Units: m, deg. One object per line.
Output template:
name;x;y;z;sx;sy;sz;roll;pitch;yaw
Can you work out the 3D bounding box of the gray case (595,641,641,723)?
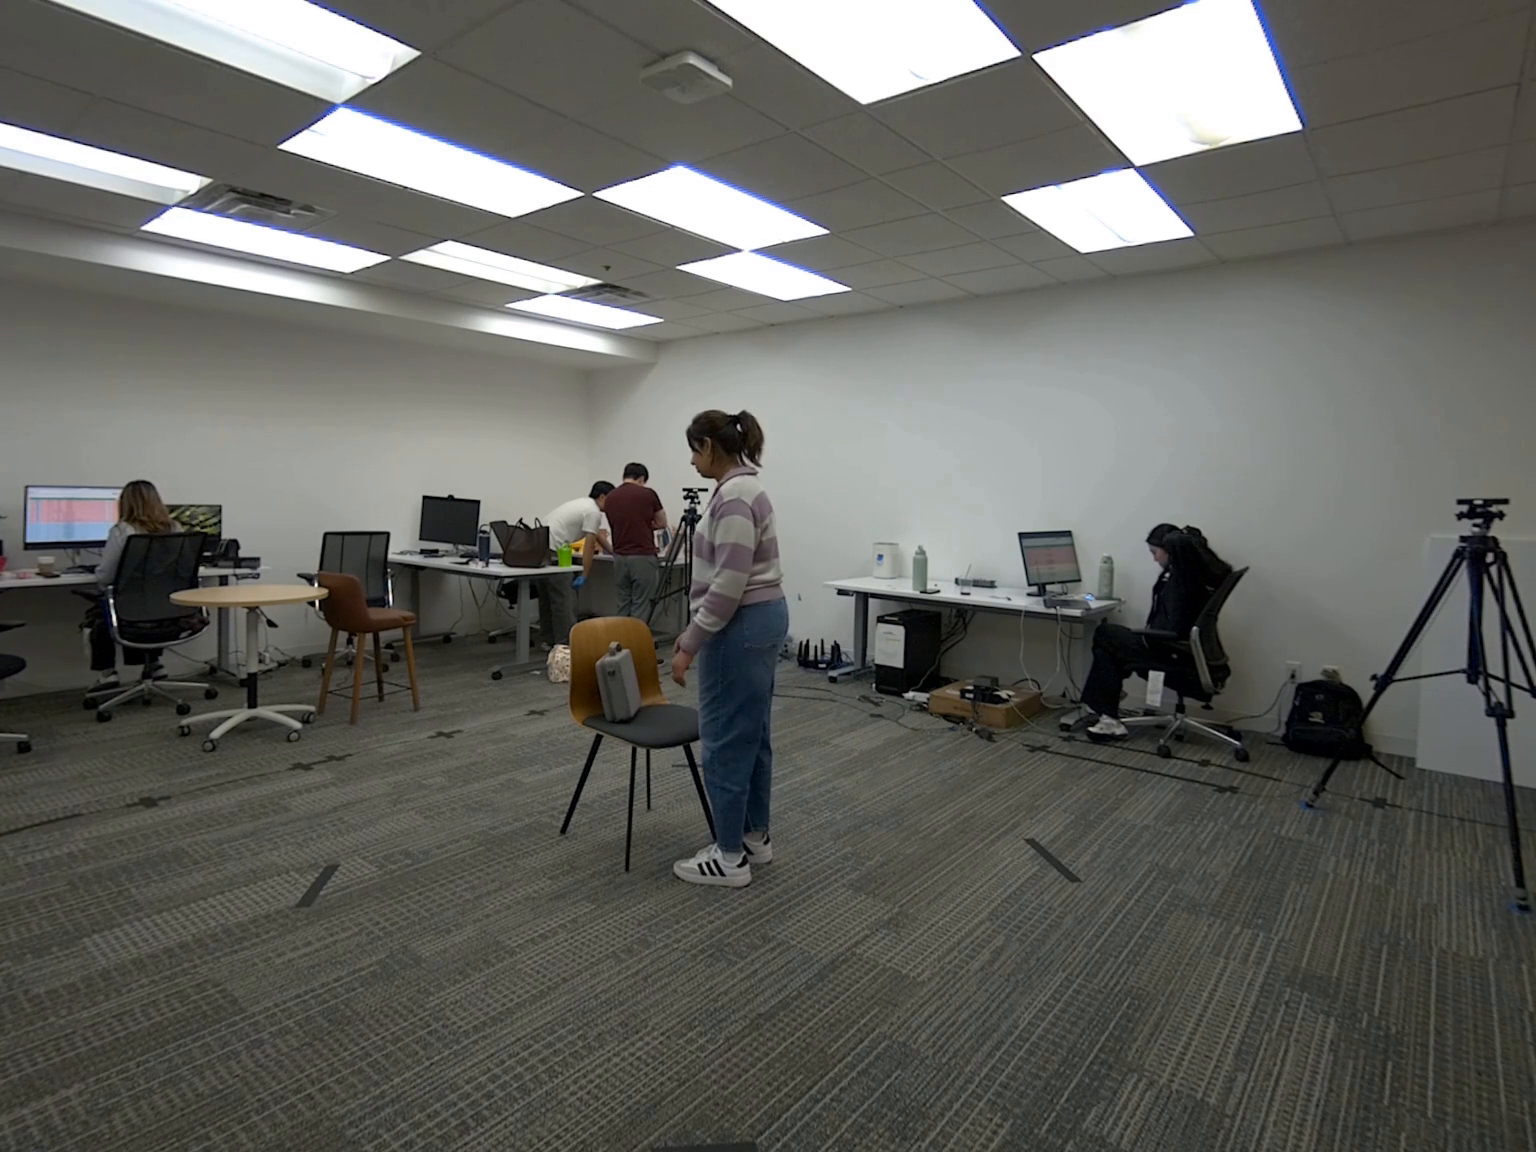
gray case;-0.611;0.432;3.403;0.104;0.260;0.258;-12;3;-2
